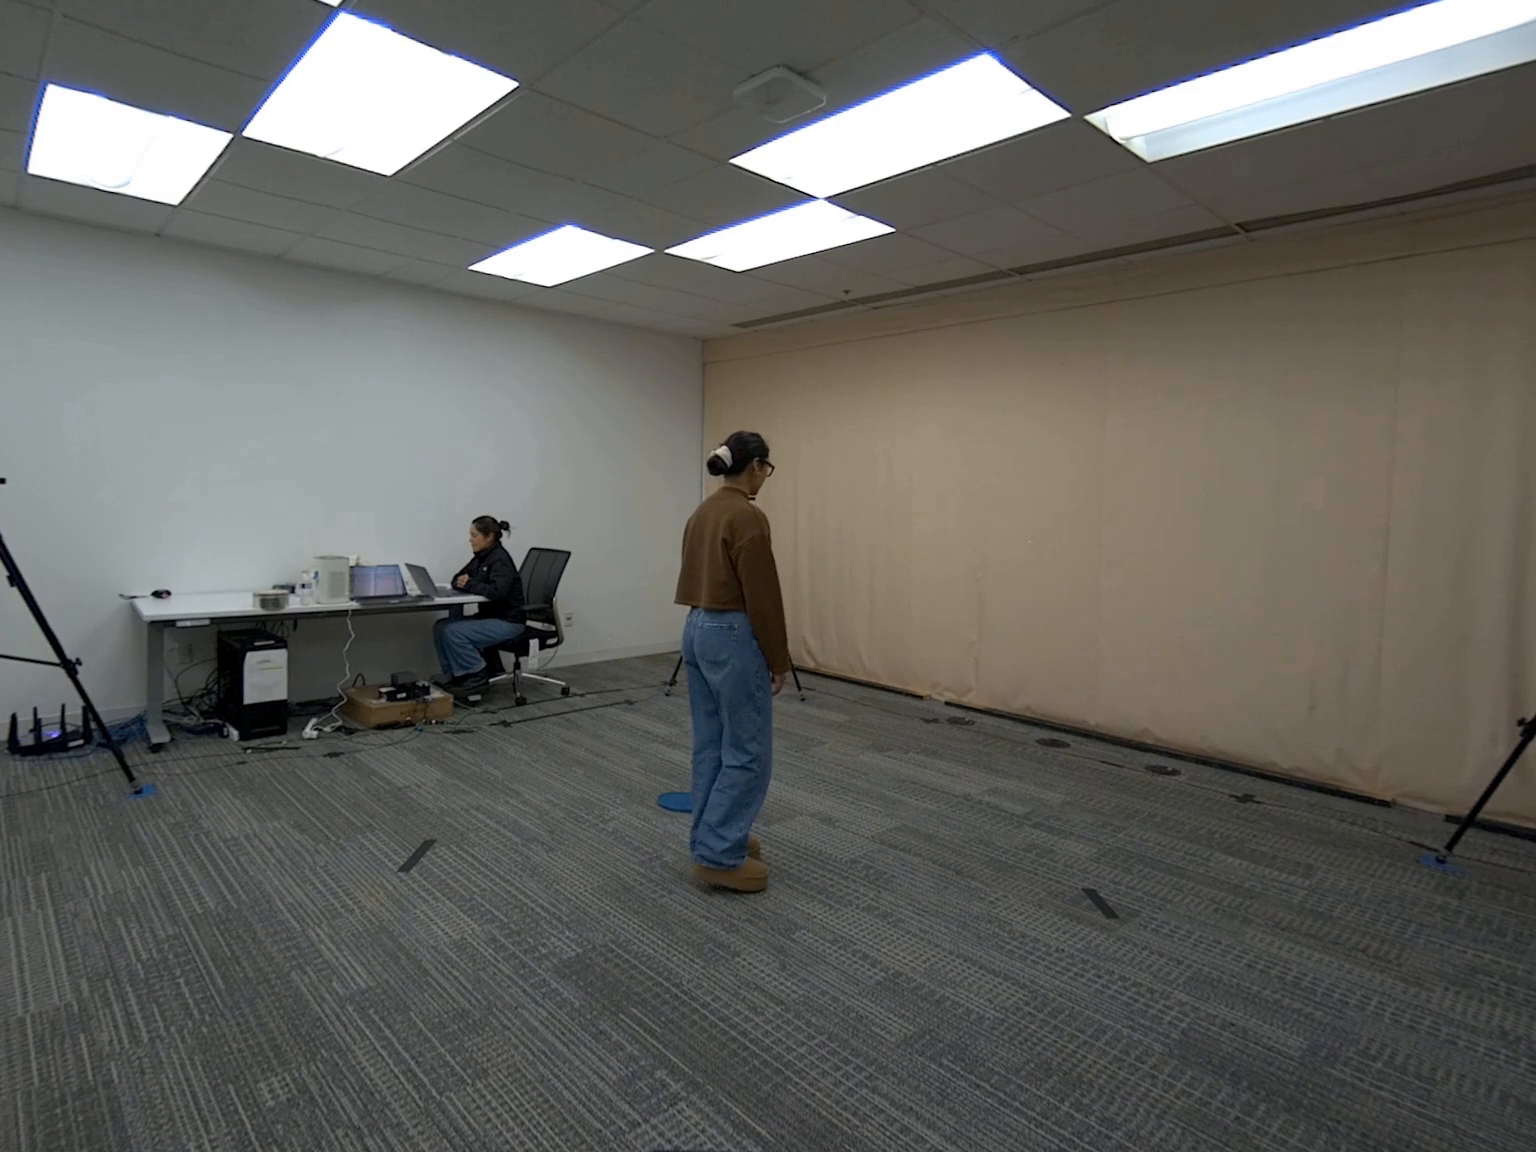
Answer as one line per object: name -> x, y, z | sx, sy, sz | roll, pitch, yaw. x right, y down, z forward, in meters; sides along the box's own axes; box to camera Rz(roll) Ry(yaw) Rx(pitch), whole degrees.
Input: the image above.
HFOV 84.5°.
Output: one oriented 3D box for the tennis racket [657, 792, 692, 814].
tennis racket -> -0.344, 1.029, 3.780 | 0.209, 0.031, 0.444 | -4, 6, -41
